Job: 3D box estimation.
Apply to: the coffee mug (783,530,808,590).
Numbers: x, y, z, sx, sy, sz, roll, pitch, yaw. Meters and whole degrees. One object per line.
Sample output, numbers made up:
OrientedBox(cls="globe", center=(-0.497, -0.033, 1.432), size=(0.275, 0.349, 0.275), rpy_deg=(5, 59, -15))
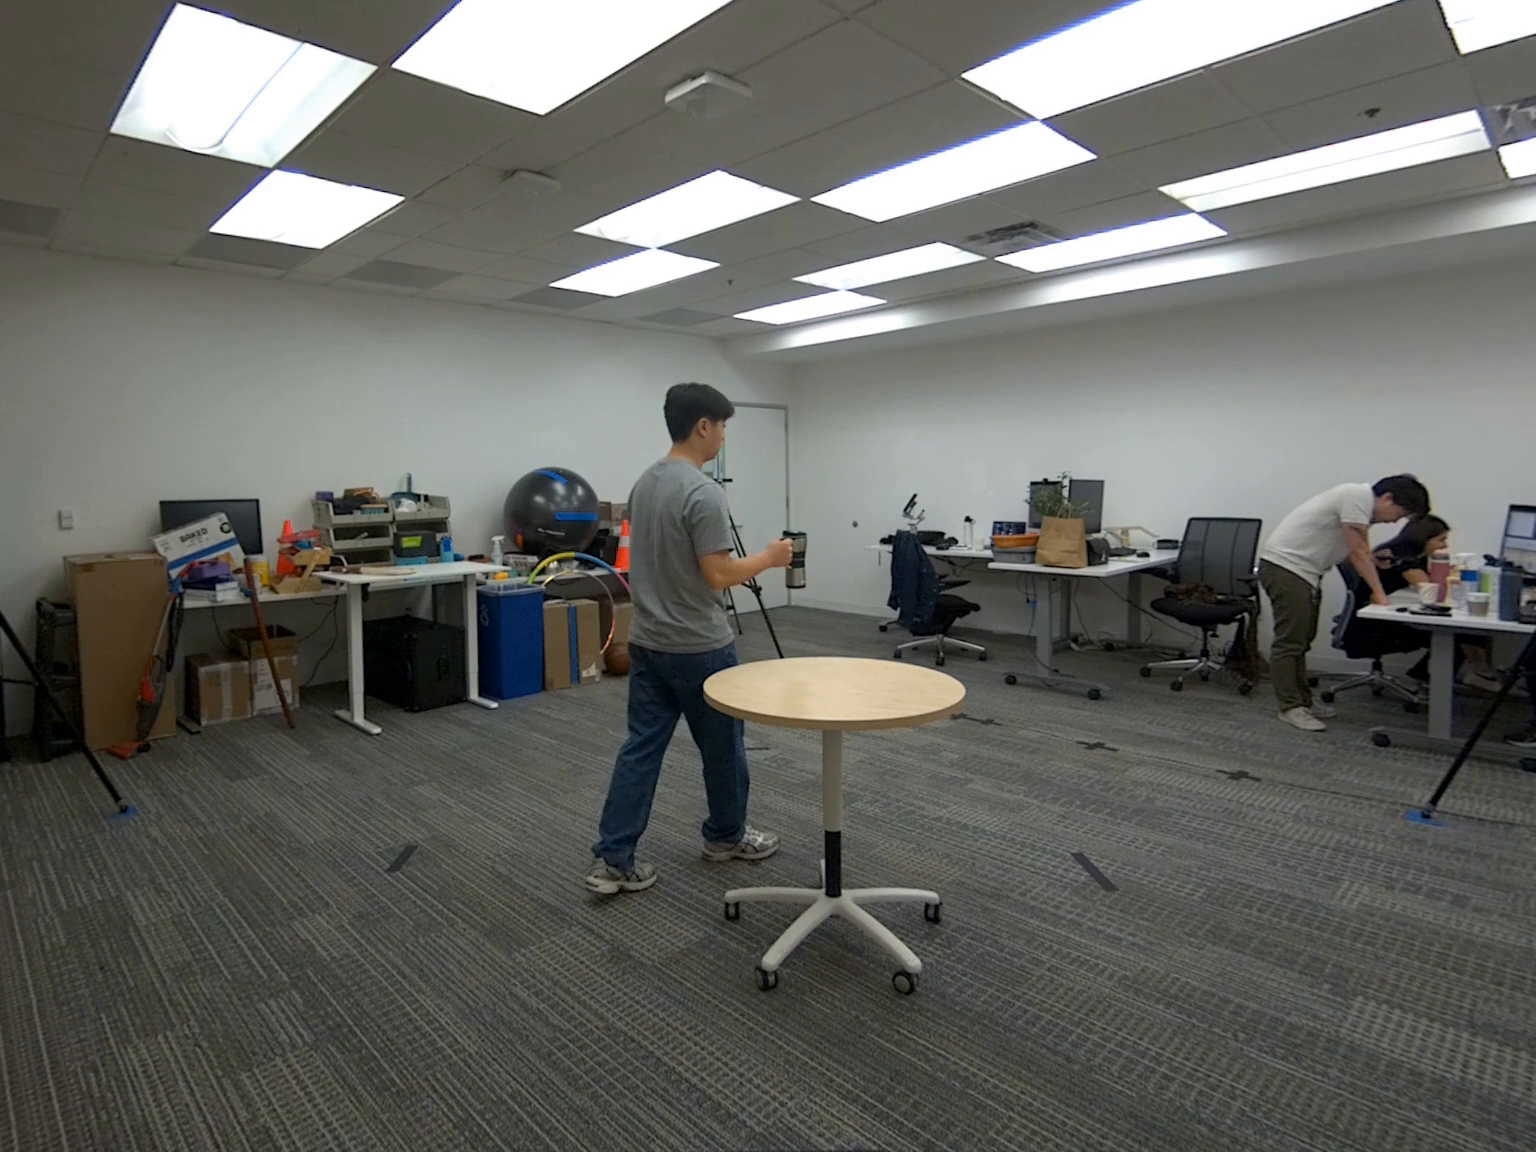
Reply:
OrientedBox(cls="coffee mug", center=(0.077, -0.063, 3.033), size=(0.122, 0.202, 0.088), rpy_deg=(2, 7, -2))
